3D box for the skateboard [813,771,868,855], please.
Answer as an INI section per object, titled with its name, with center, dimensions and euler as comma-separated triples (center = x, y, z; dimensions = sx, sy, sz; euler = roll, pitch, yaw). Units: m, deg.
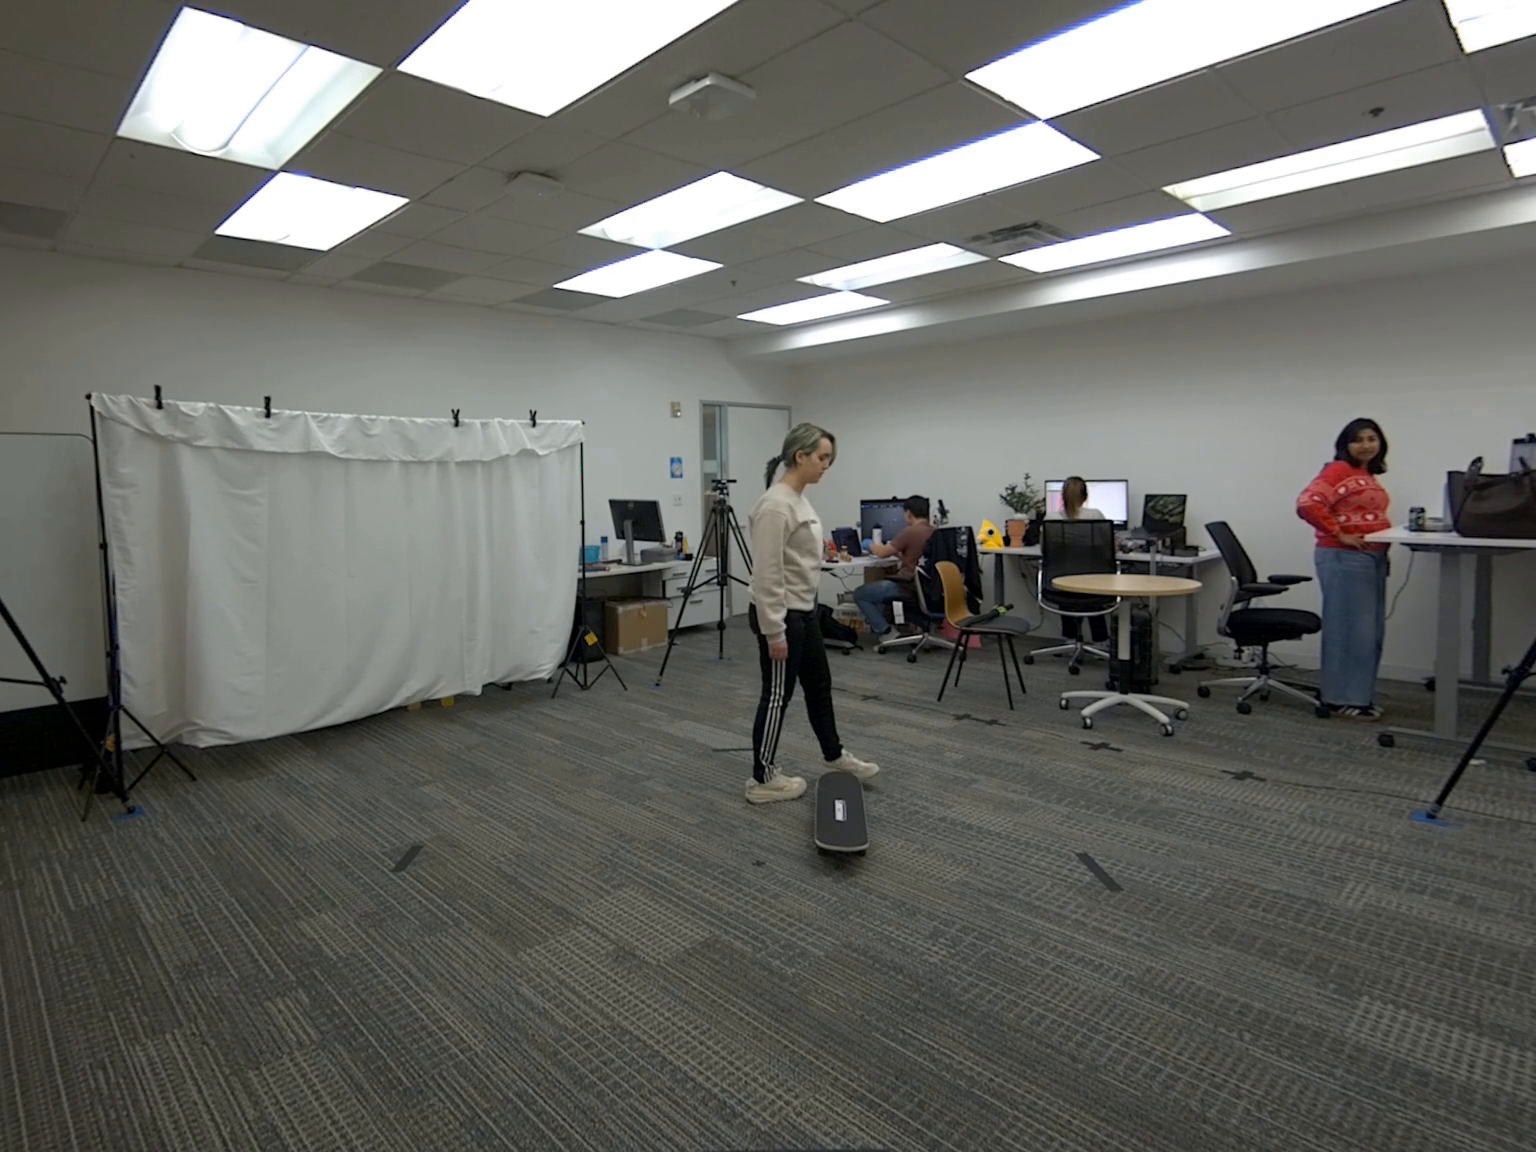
[skateboard]
center = 0.292, 0.957, 3.368
dimensions = 0.194, 0.110, 0.785
euler = 0, 6, 4
